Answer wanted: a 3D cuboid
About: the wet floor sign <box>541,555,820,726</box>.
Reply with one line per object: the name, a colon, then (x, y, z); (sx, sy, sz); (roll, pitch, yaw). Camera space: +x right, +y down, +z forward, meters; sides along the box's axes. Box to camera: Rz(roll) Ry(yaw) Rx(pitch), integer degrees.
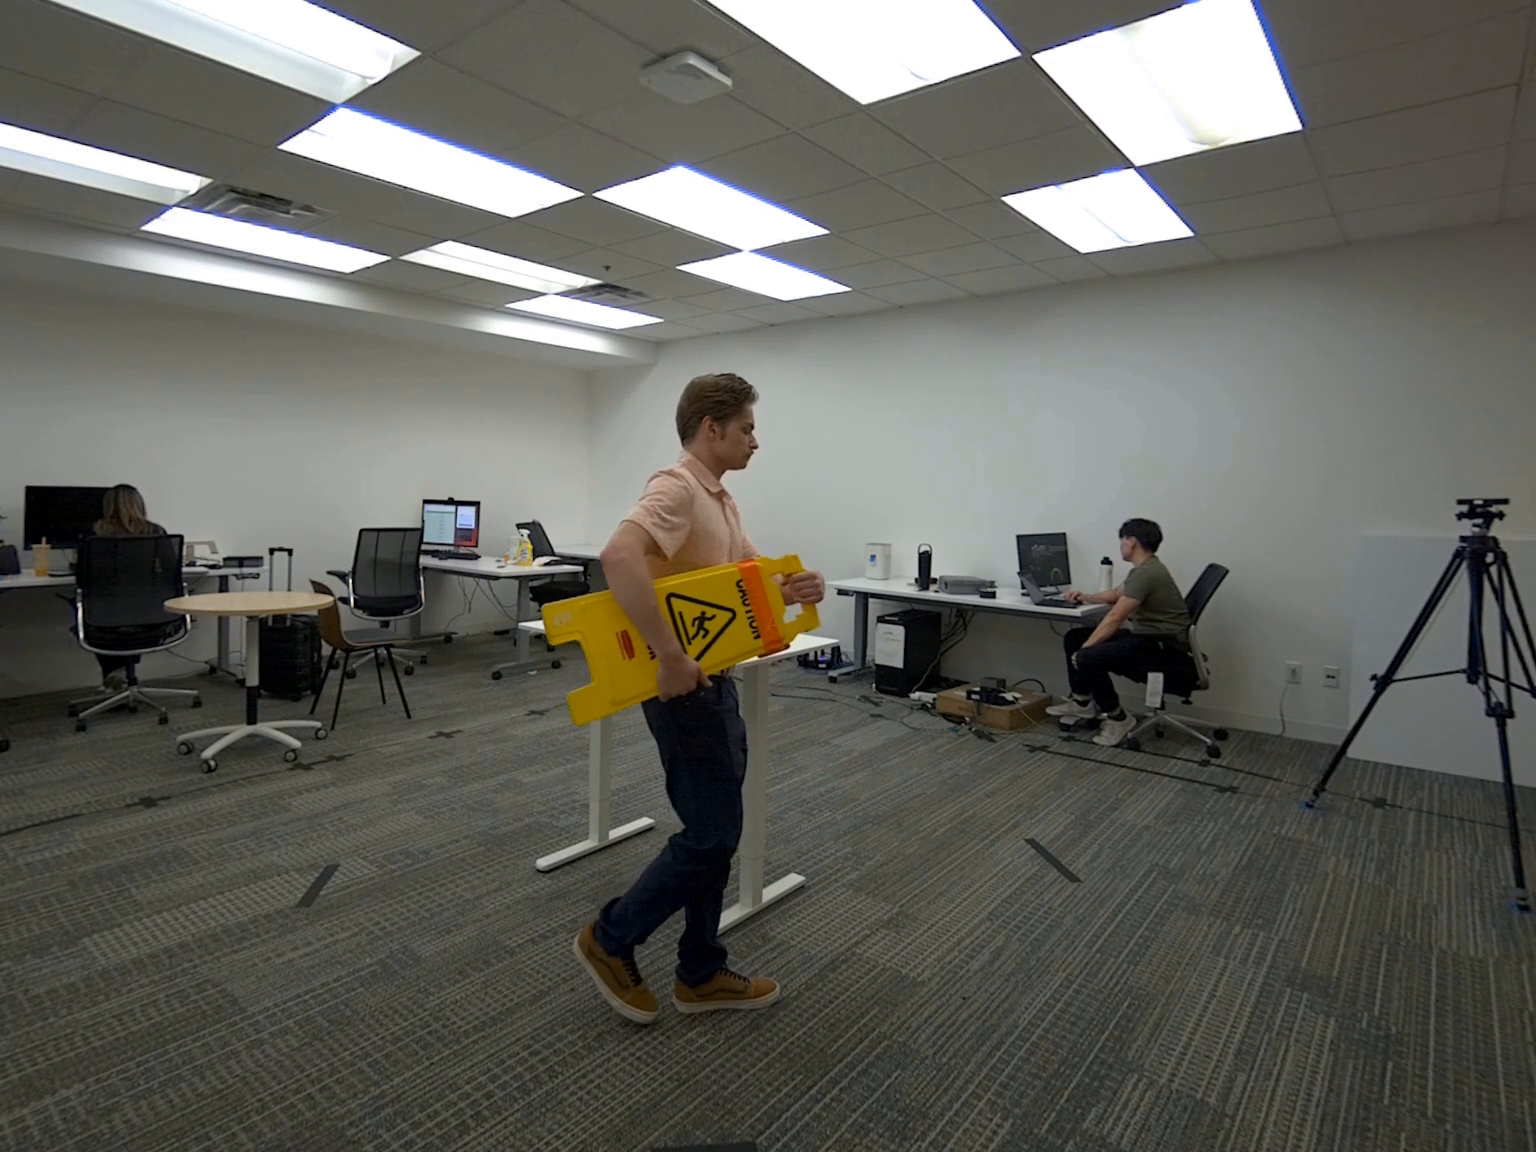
wet floor sign: (-0.204, 0.132, 2.055); (0.640, 0.284, 0.290); (-18, -4, -12)
